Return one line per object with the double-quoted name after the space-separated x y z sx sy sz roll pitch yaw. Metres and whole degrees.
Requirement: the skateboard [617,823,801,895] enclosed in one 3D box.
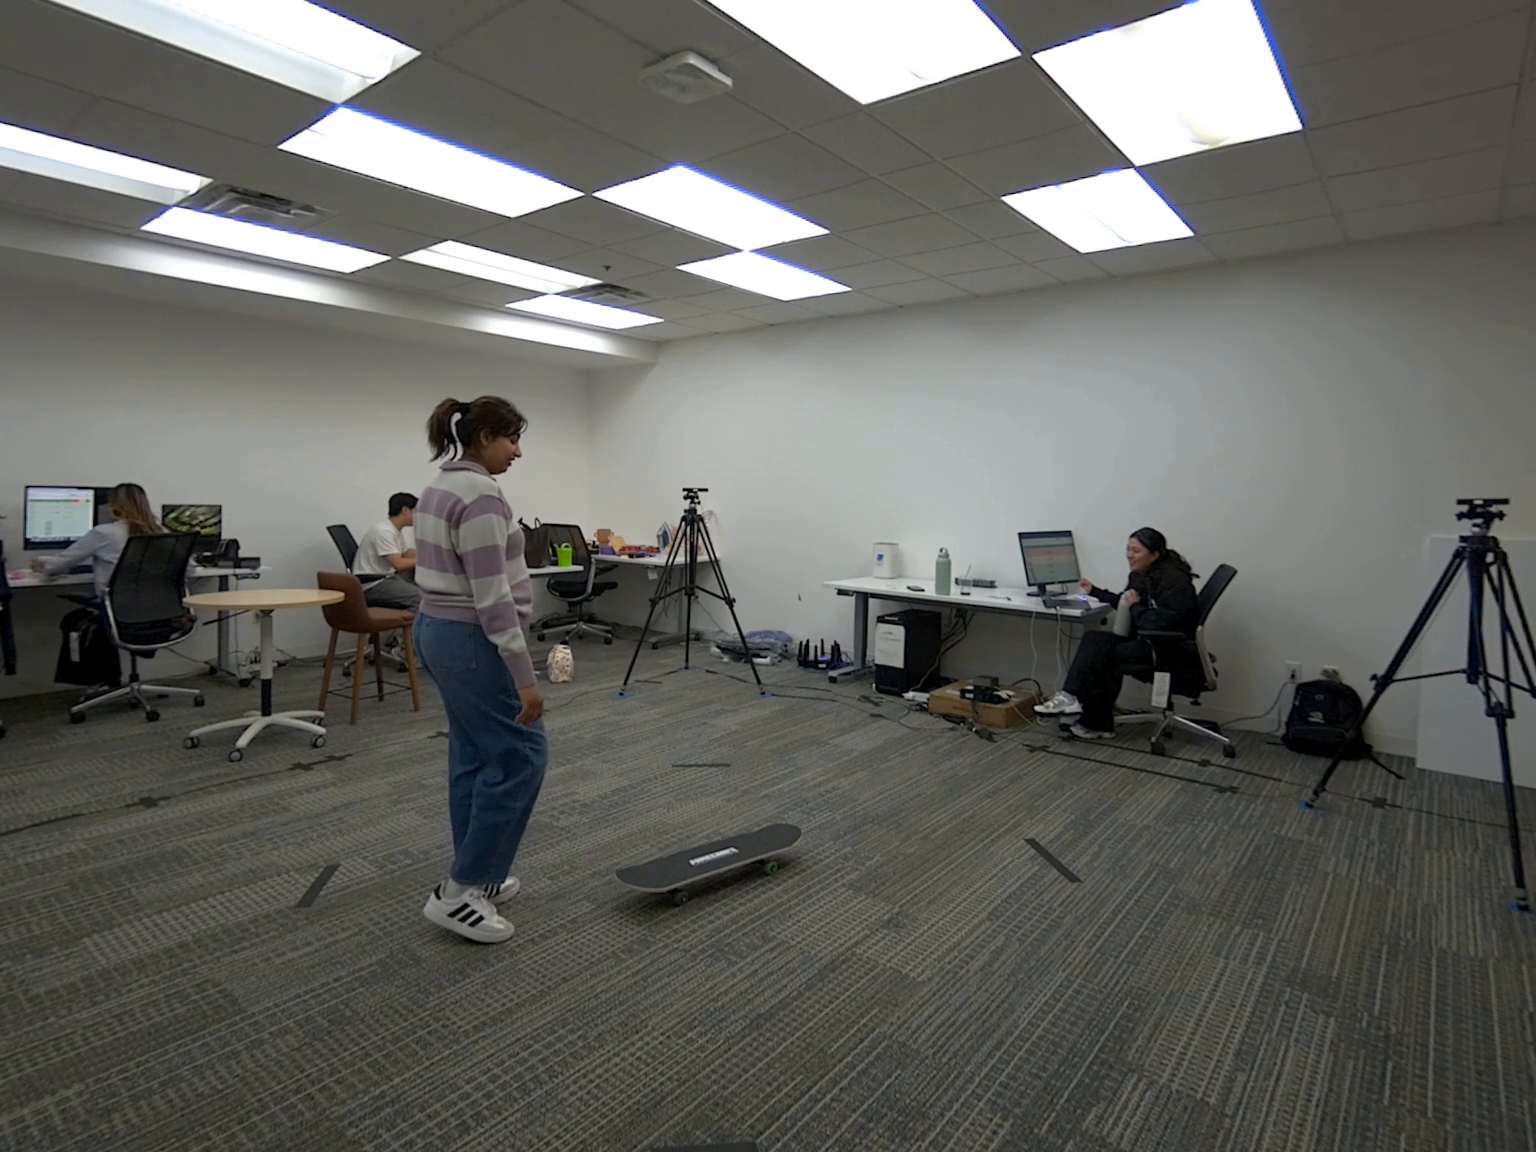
-0.196 1.025 3.011 0.762 0.110 0.200 -4 8 -39 "skateboard"
